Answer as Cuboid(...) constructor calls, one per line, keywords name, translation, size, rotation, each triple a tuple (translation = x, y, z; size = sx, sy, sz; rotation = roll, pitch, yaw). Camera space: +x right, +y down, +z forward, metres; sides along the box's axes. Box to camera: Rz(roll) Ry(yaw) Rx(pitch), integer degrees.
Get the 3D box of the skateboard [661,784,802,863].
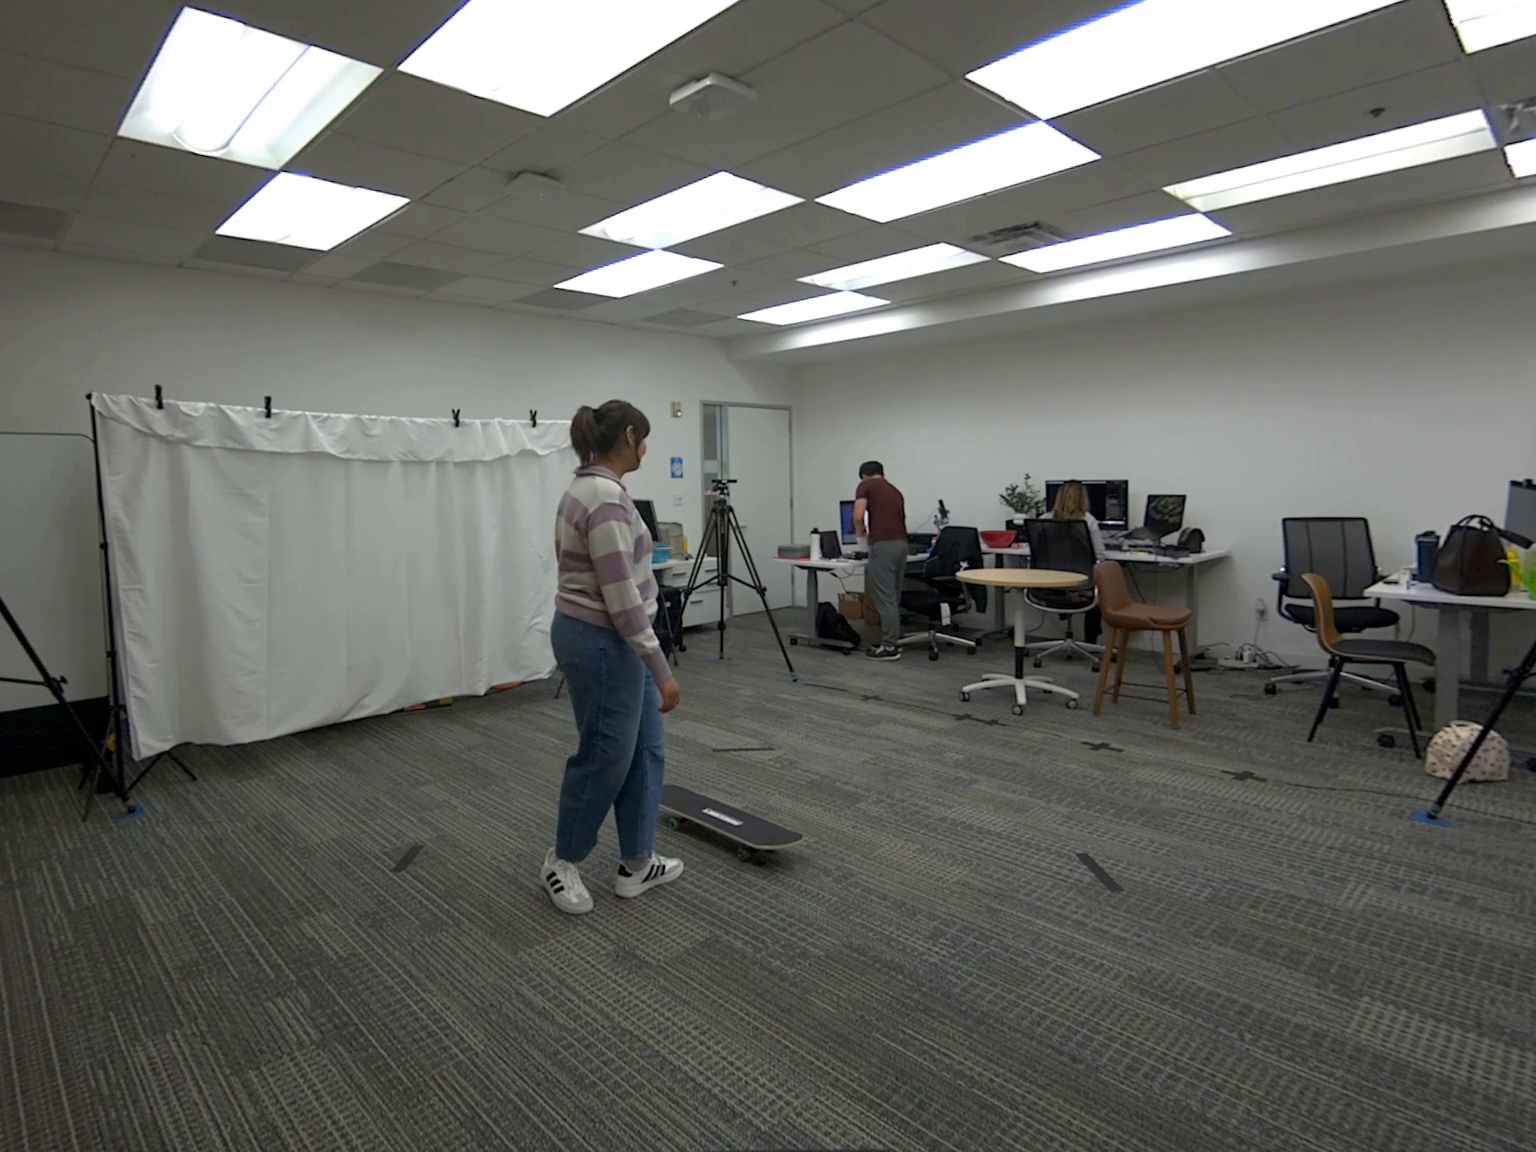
Cuboid(name="skateboard", translation=(-0.175, 0.970, 3.325), size=(0.188, 0.110, 0.810), rotation=(-6, 8, -44))
